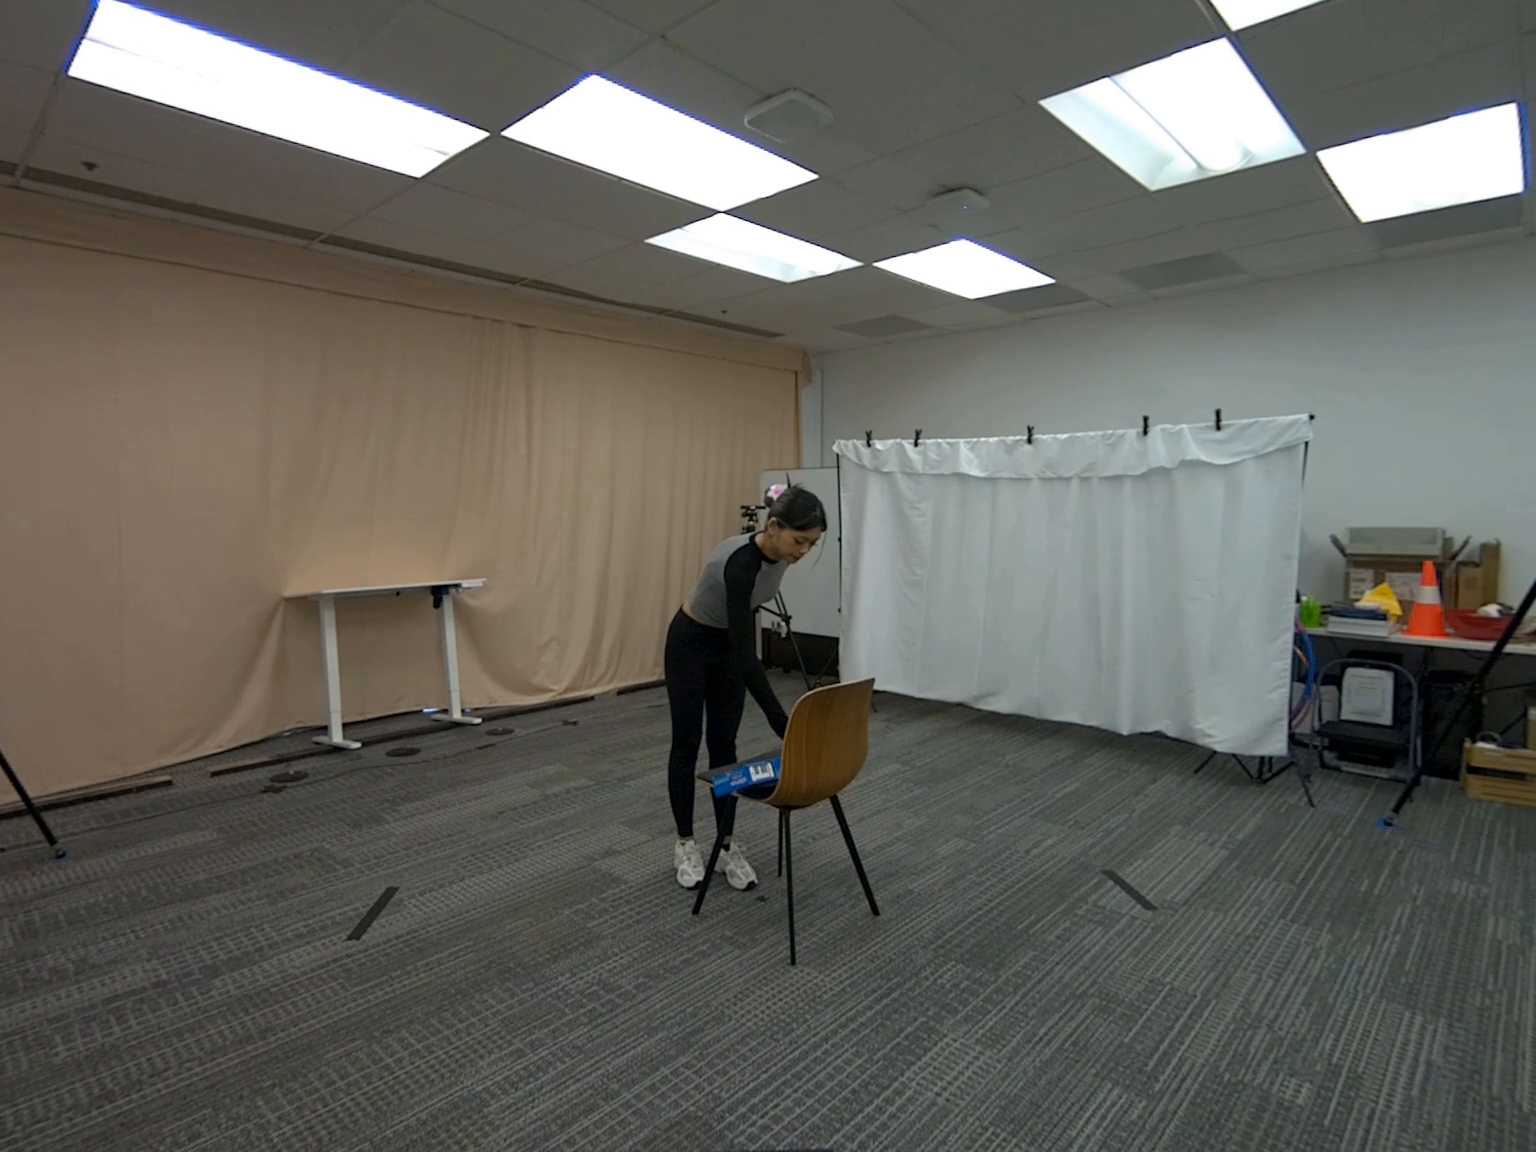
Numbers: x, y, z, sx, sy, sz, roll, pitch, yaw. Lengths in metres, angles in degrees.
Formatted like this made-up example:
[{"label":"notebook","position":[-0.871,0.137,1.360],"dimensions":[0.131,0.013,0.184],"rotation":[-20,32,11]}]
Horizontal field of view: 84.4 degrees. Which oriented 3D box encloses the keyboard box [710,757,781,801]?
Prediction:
[{"label":"keyboard box","position":[0.046,0.623,2.693],"dimensions":[0.423,0.060,0.179],"rotation":[0,-24,-44]}]
